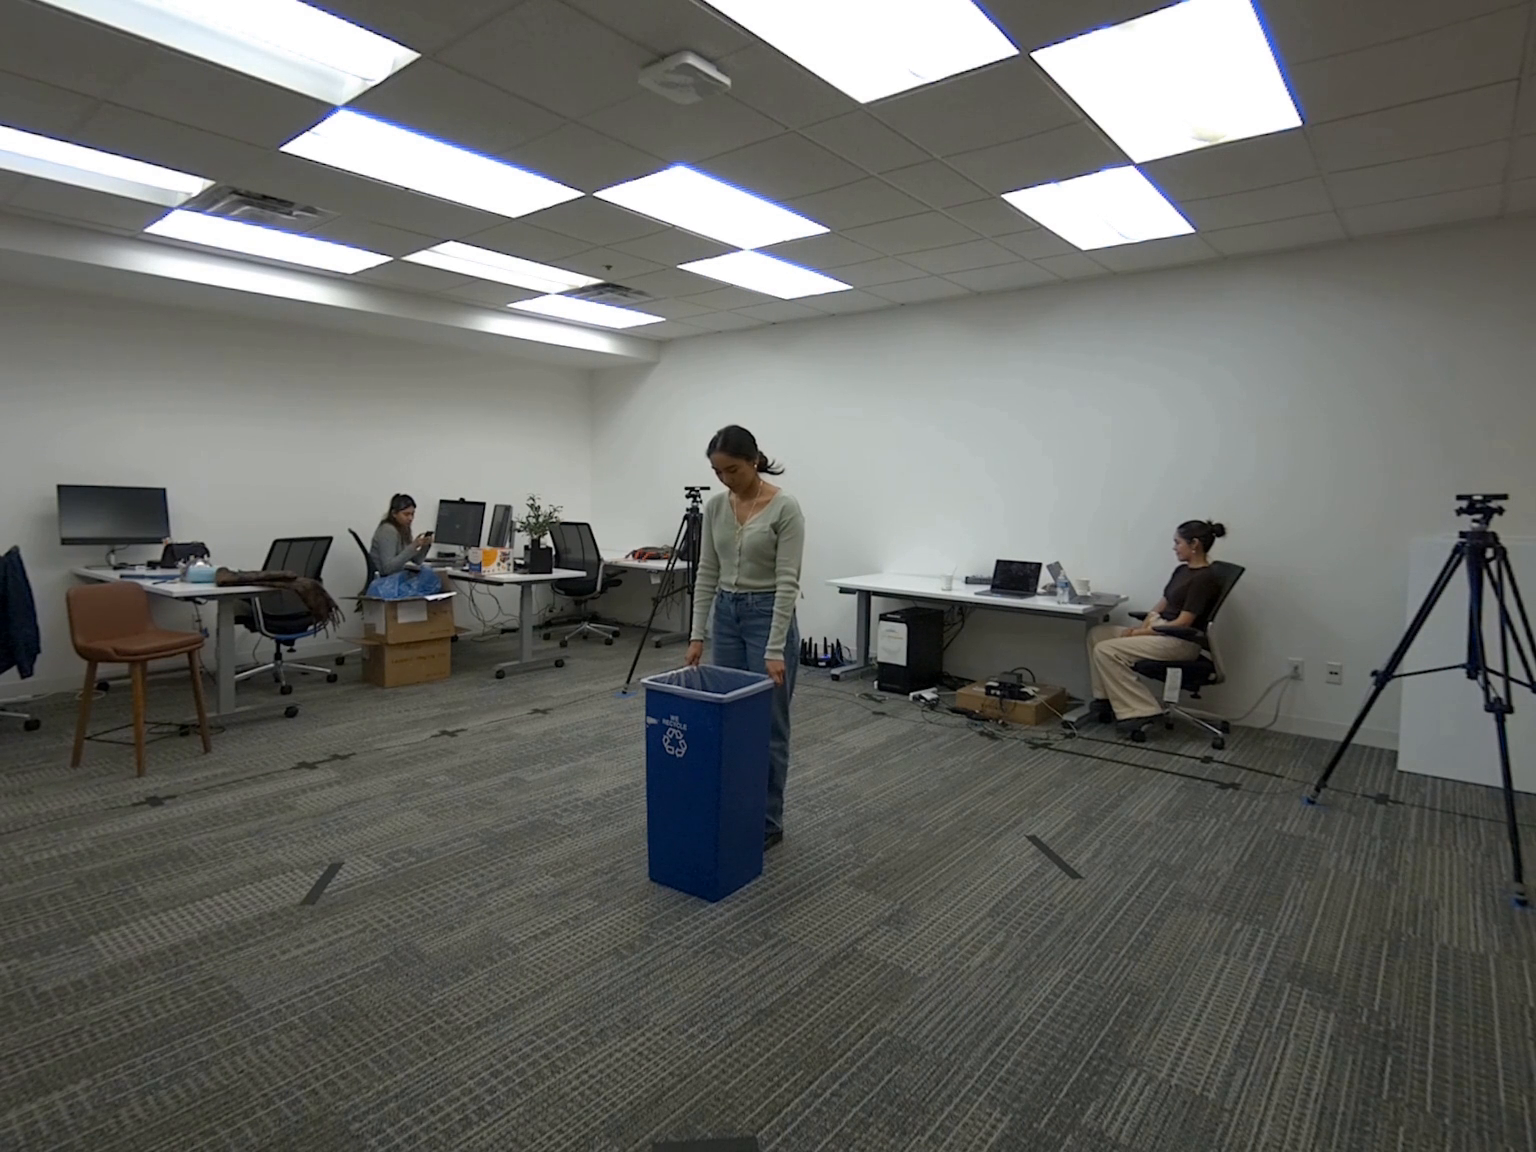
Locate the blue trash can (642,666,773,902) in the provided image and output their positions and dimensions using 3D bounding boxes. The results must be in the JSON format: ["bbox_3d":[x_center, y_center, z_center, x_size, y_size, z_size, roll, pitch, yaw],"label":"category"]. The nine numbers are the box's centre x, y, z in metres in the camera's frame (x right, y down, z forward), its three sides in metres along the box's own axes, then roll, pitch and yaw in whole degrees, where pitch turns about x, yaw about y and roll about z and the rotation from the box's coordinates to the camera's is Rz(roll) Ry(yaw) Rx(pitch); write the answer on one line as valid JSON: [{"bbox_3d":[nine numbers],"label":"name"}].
[{"bbox_3d":[-0.218,0.715,3.024,0.386,0.712,0.367,3,4,33],"label":"blue trash can"}]
